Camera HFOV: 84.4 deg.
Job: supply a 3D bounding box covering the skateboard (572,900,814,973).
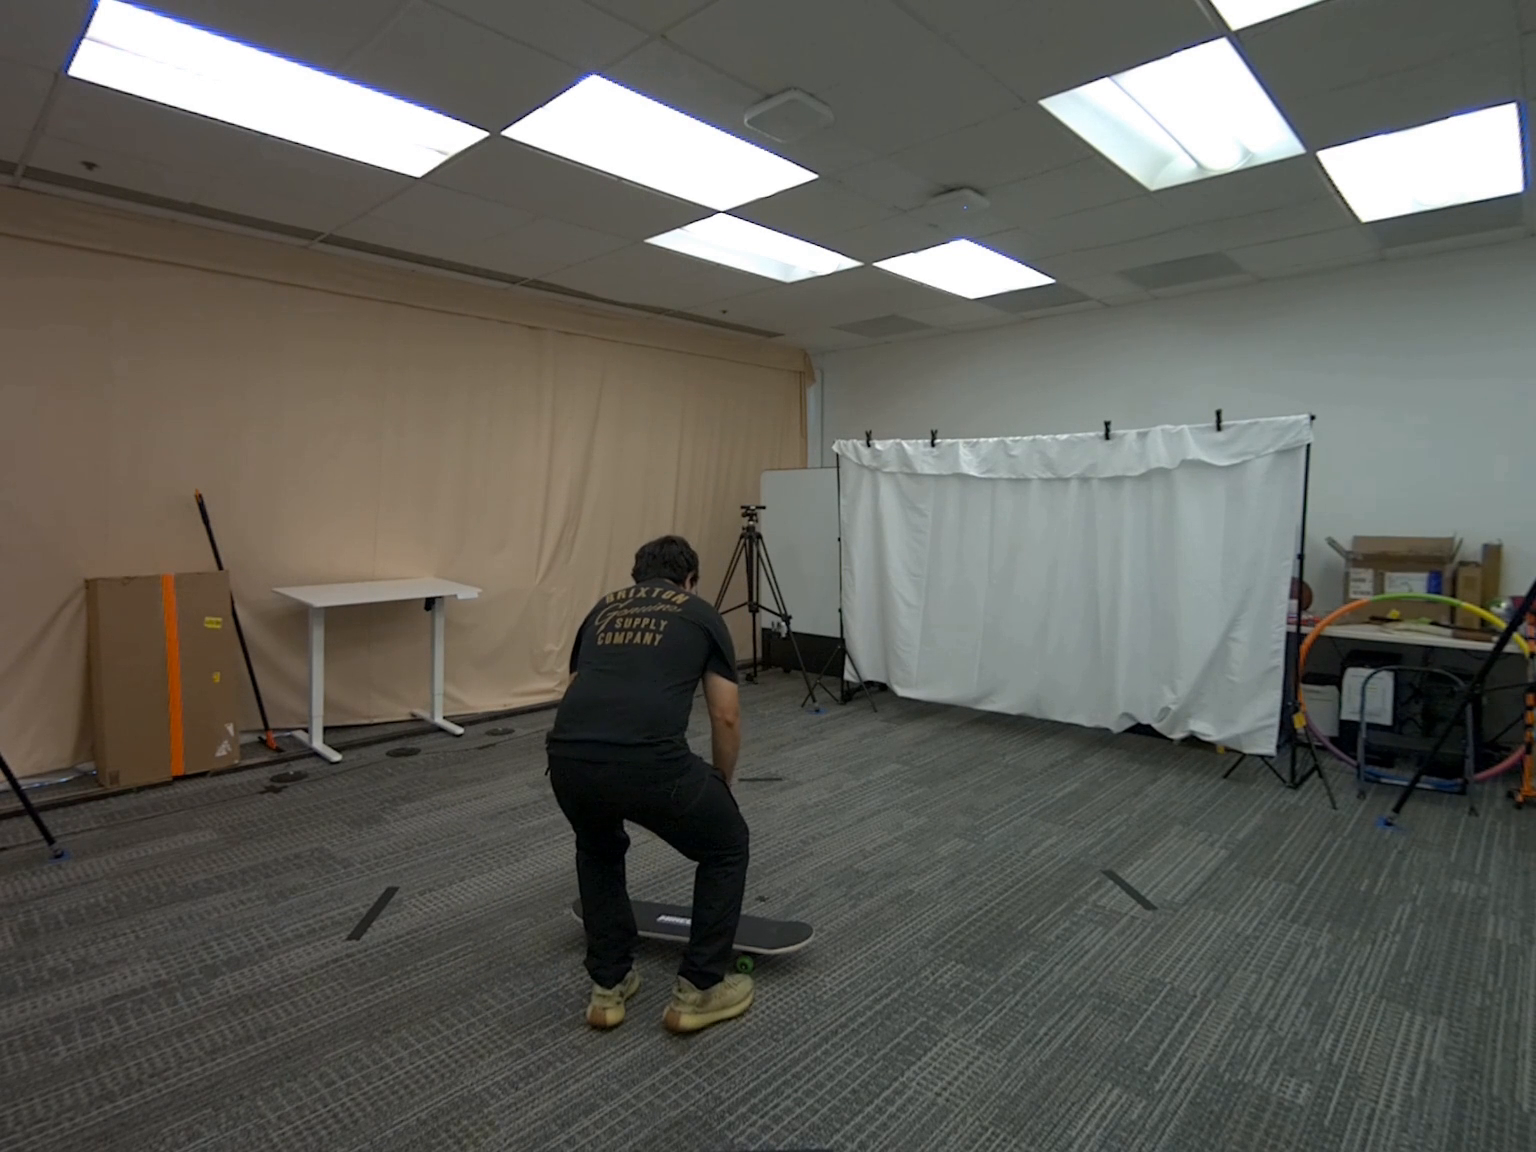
[{"bbox_3d":[-0.245,1.118,2.638,0.799,0.110,0.191,0,5,16],"label":"skateboard"}]
